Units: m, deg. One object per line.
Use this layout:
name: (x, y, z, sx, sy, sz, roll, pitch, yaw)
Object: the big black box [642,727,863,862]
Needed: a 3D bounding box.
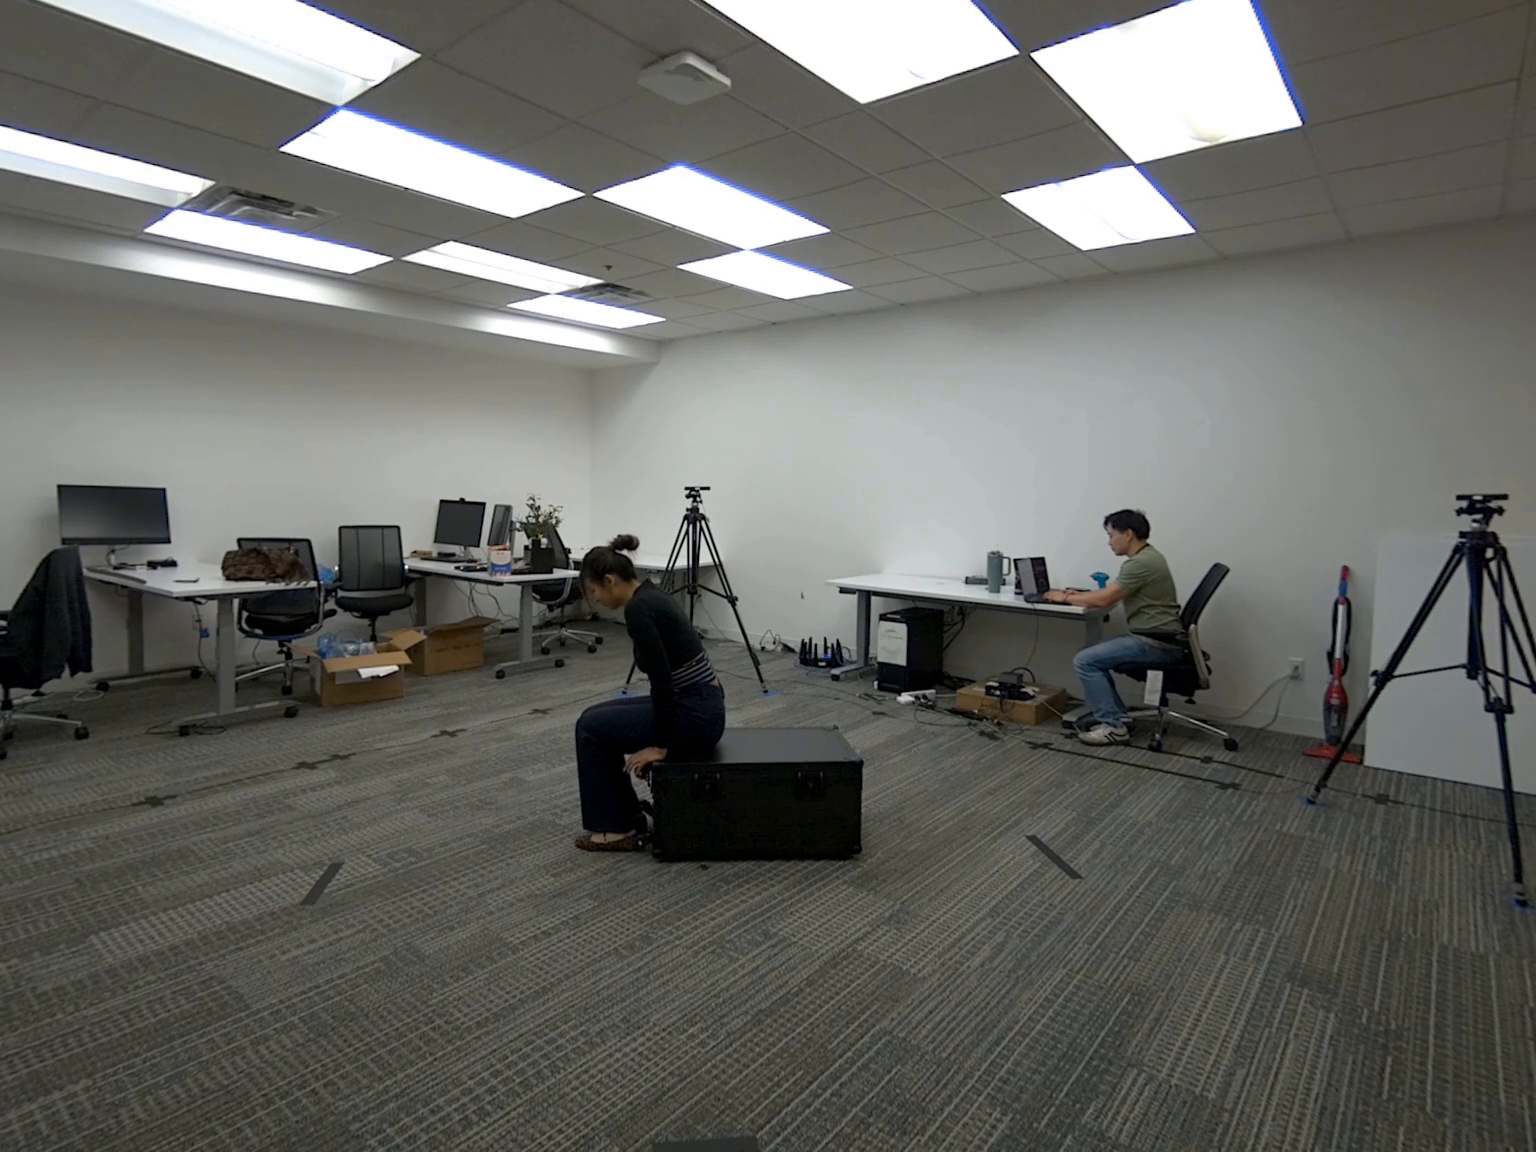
big black box: (-0.102, 0.847, 3.390, 0.857, 0.395, 0.526, 0, 5, -5)
